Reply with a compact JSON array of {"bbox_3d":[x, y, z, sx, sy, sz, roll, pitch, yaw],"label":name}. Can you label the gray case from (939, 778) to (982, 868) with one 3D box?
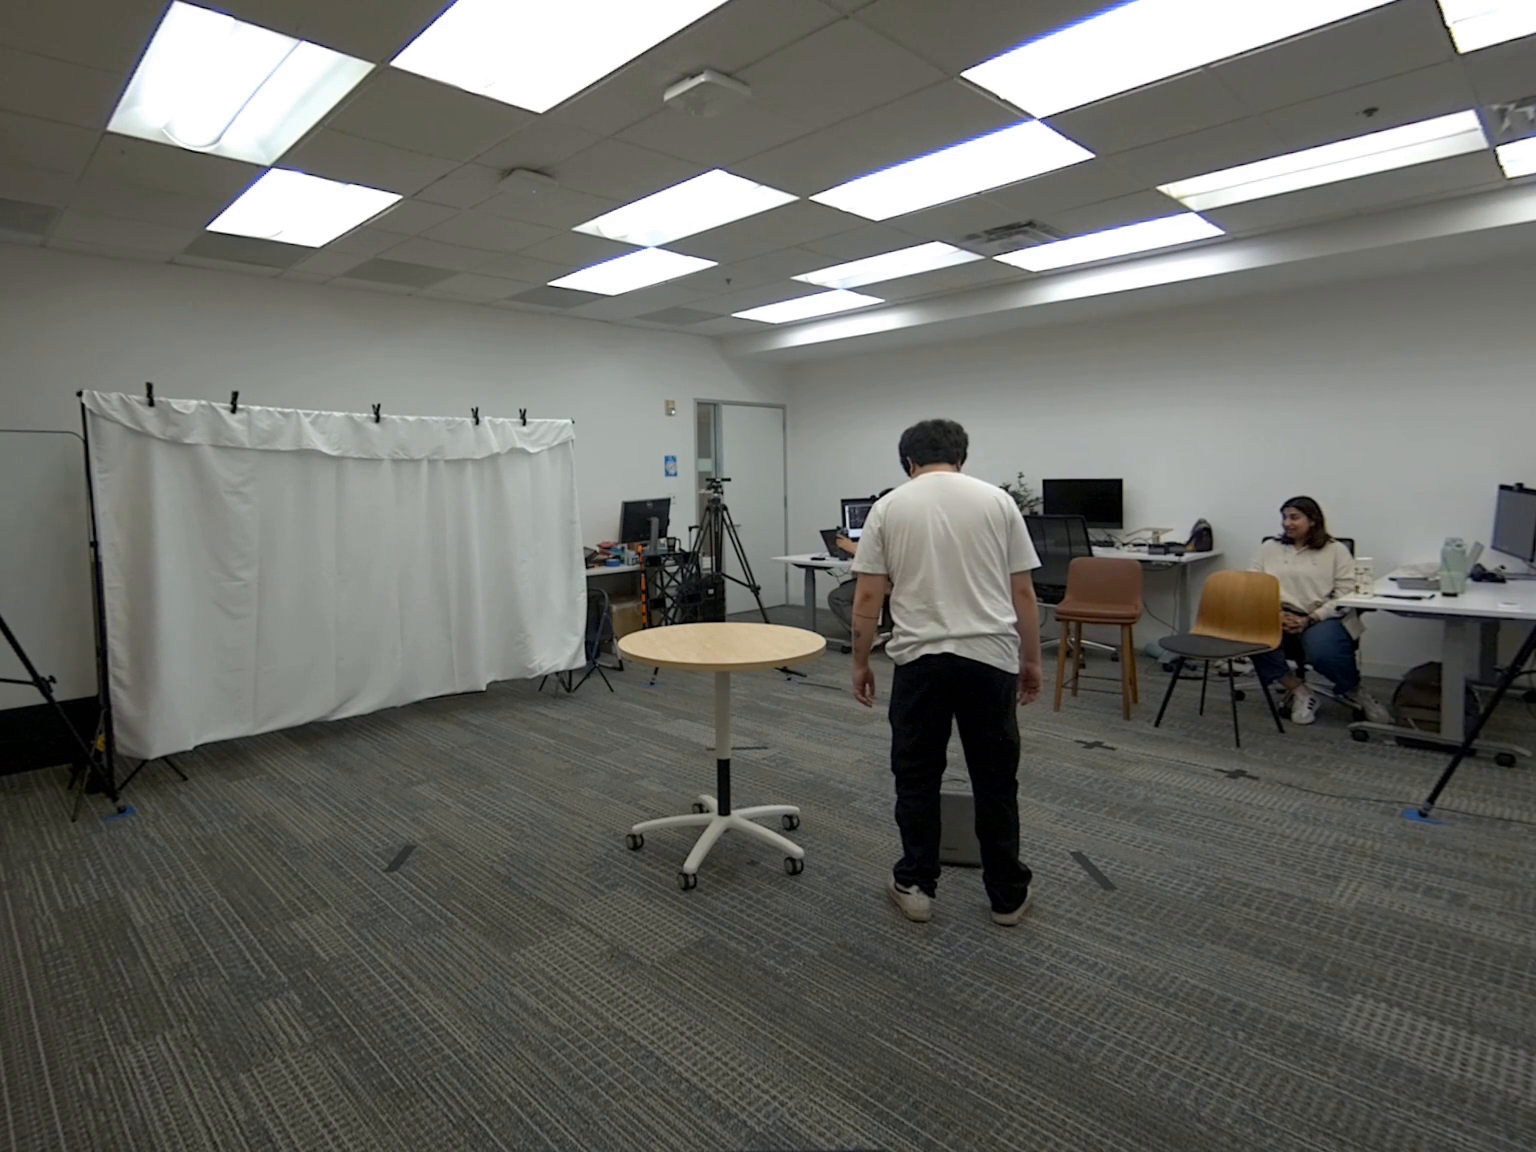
[{"bbox_3d":[0.668,0.908,3.113,0.260,0.263,0.102,-1,-9,13],"label":"gray case"}]
